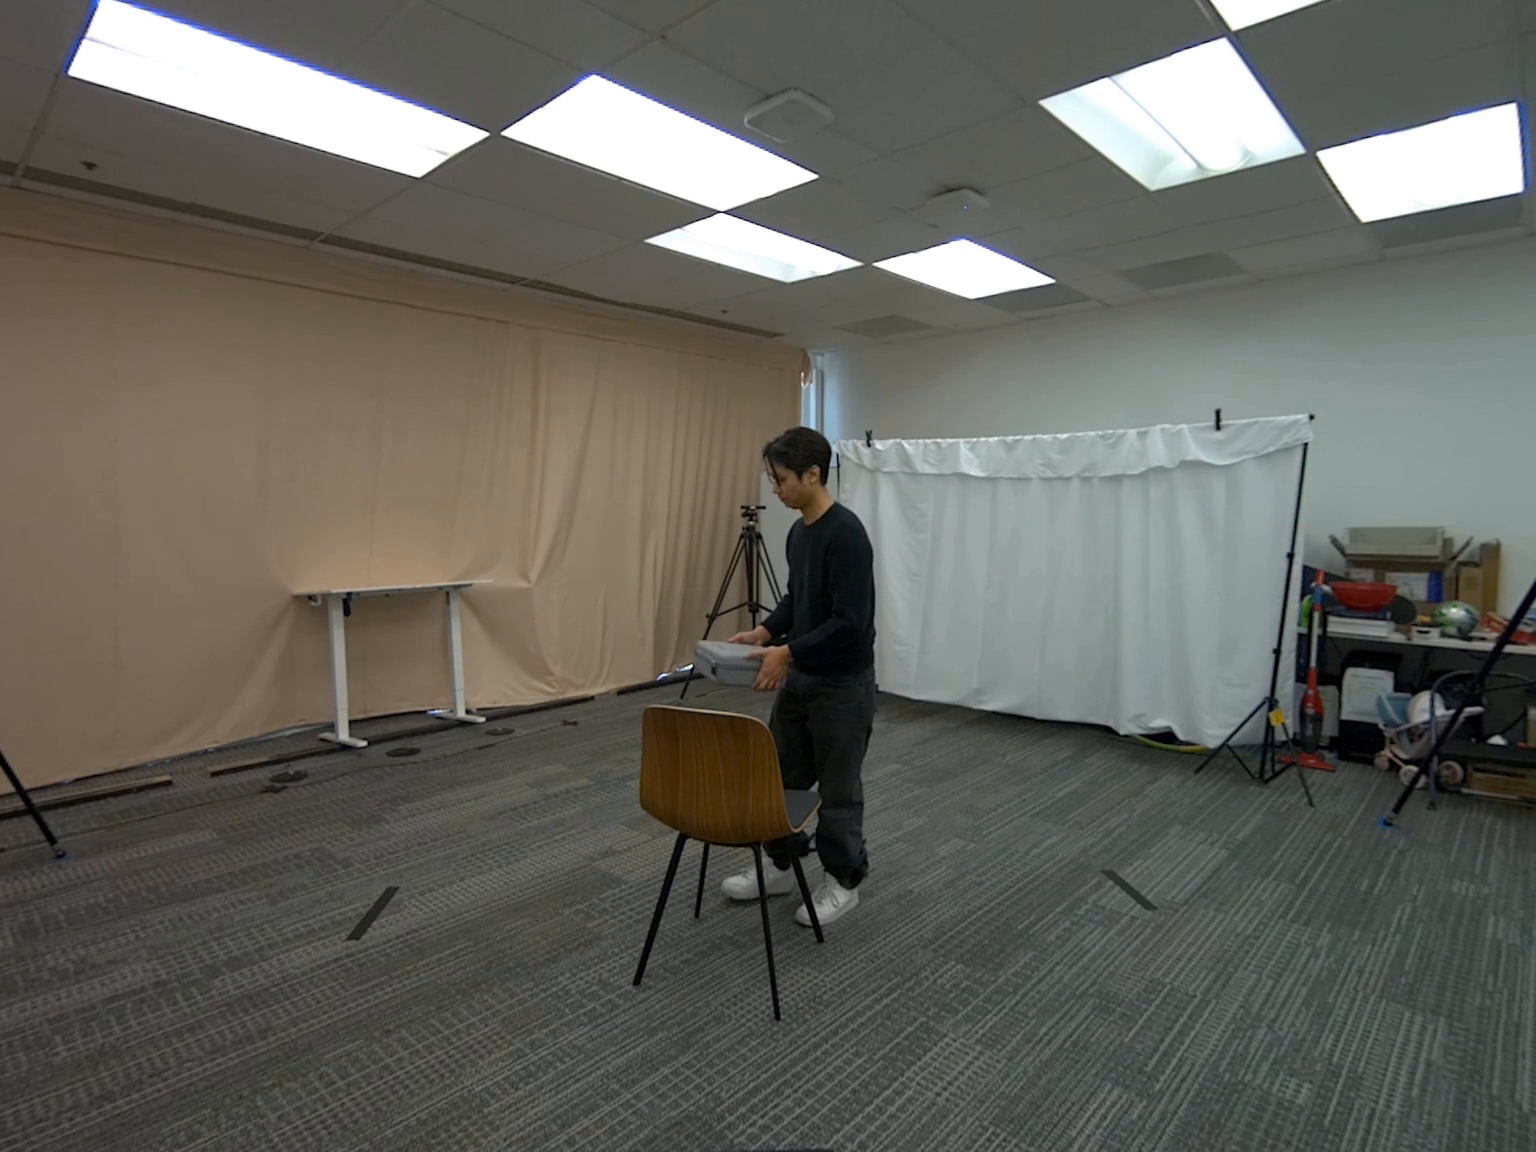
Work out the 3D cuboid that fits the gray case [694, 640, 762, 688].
[{"bbox_3d":[-0.082,0.294,2.772,0.257,0.104,0.261,6,2,-13],"label":"gray case"}]
